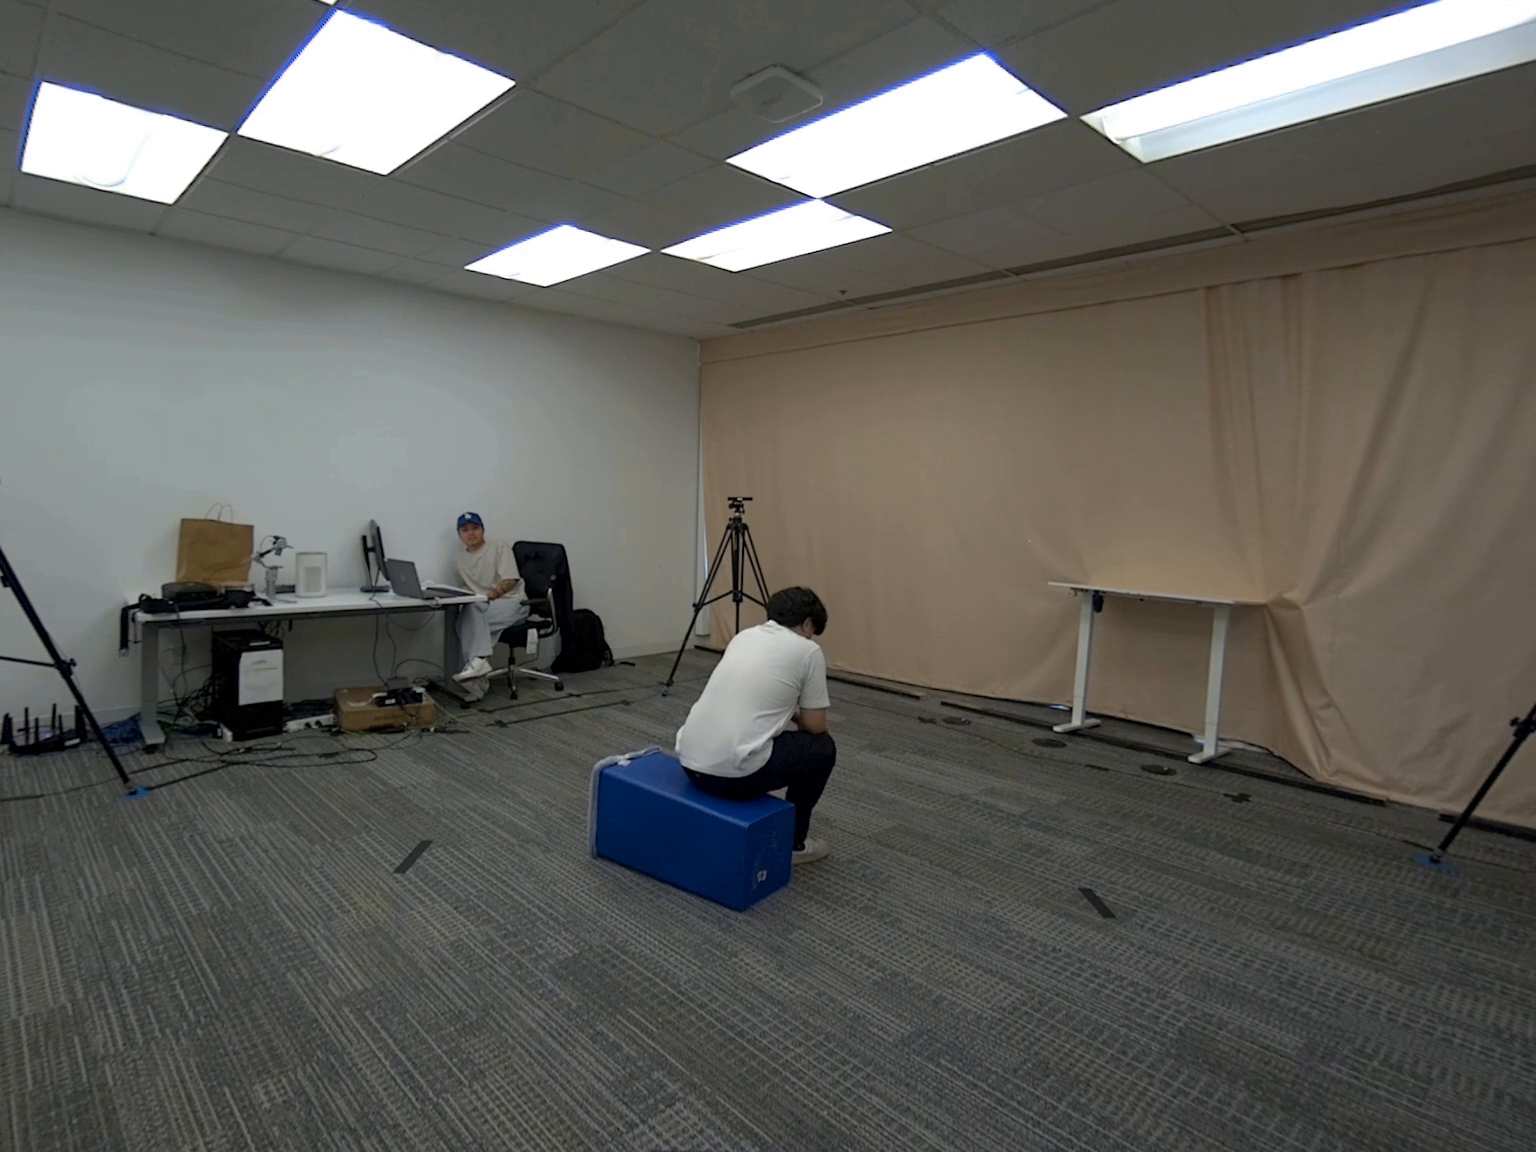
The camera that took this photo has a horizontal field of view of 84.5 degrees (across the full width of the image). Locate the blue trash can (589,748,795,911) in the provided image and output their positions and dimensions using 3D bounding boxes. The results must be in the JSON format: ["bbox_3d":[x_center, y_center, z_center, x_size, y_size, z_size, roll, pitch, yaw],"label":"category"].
[{"bbox_3d":[-0.295,0.936,3.144,0.732,0.373,0.369,9,6,37],"label":"blue trash can"}]
